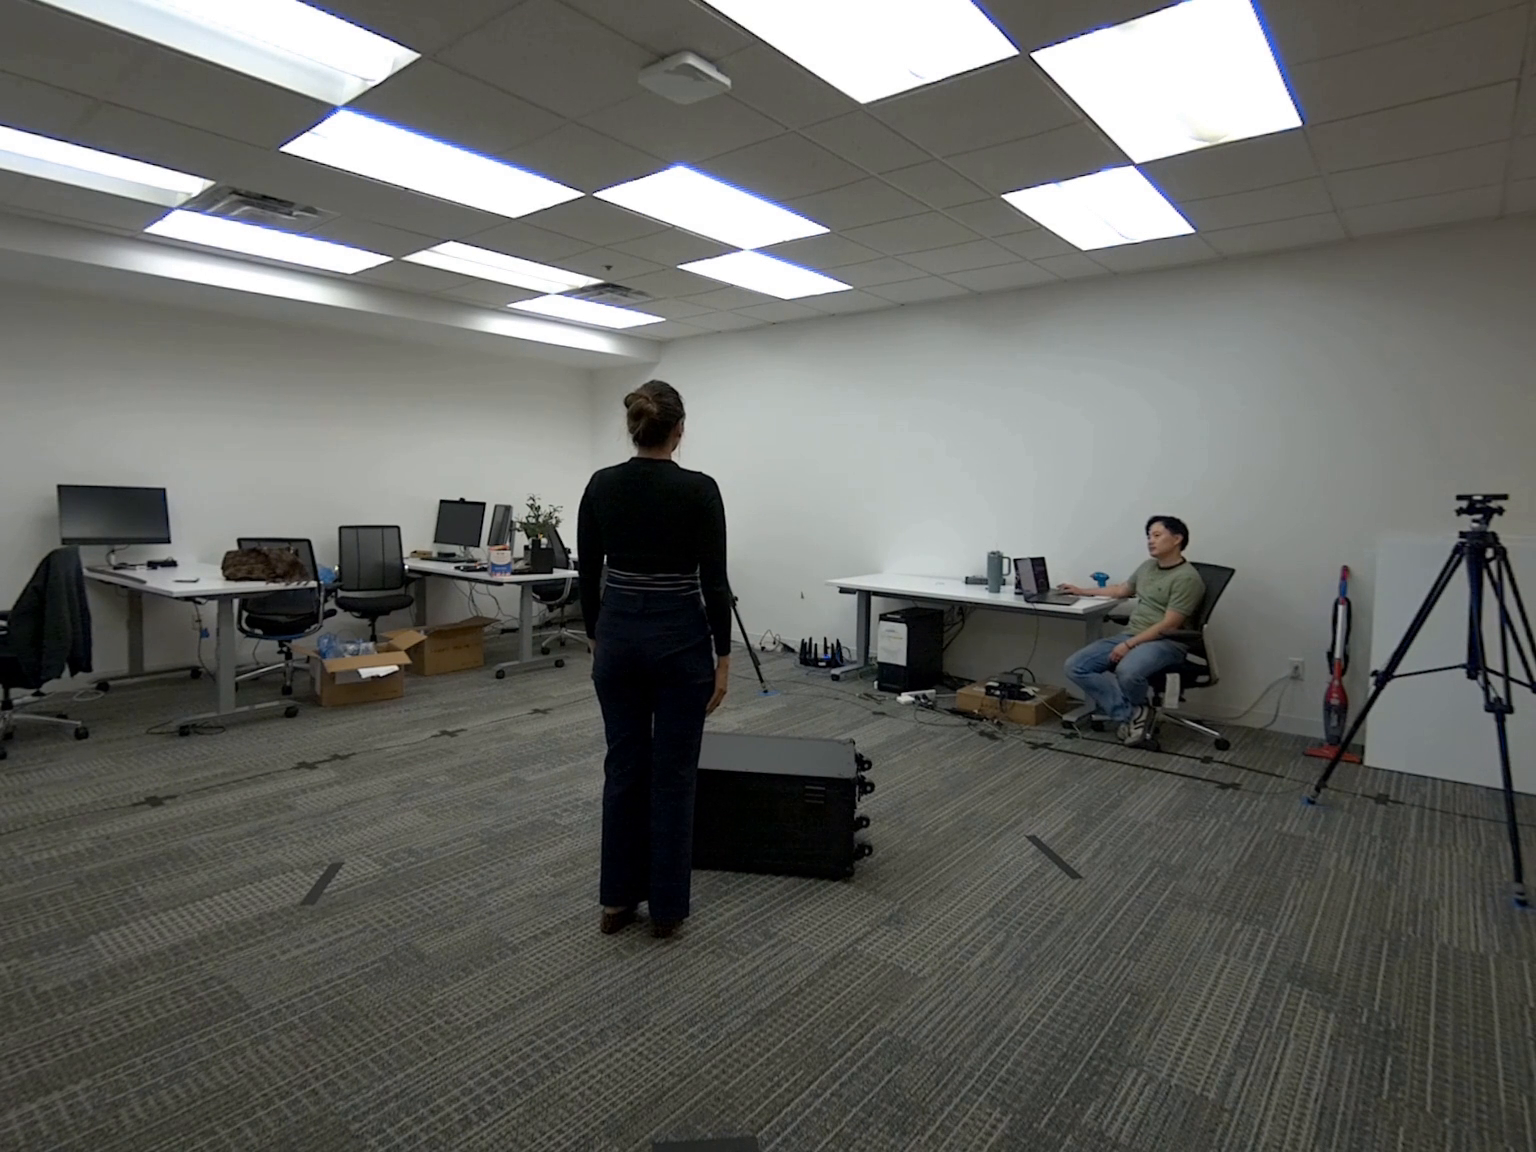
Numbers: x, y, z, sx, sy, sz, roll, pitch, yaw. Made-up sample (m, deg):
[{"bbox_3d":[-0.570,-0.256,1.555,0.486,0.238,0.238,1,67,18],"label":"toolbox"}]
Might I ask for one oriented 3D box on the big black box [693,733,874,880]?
[{"bbox_3d":[-0.034,0.857,3.279,0.869,0.395,0.518,1,5,8],"label":"big black box"}]
